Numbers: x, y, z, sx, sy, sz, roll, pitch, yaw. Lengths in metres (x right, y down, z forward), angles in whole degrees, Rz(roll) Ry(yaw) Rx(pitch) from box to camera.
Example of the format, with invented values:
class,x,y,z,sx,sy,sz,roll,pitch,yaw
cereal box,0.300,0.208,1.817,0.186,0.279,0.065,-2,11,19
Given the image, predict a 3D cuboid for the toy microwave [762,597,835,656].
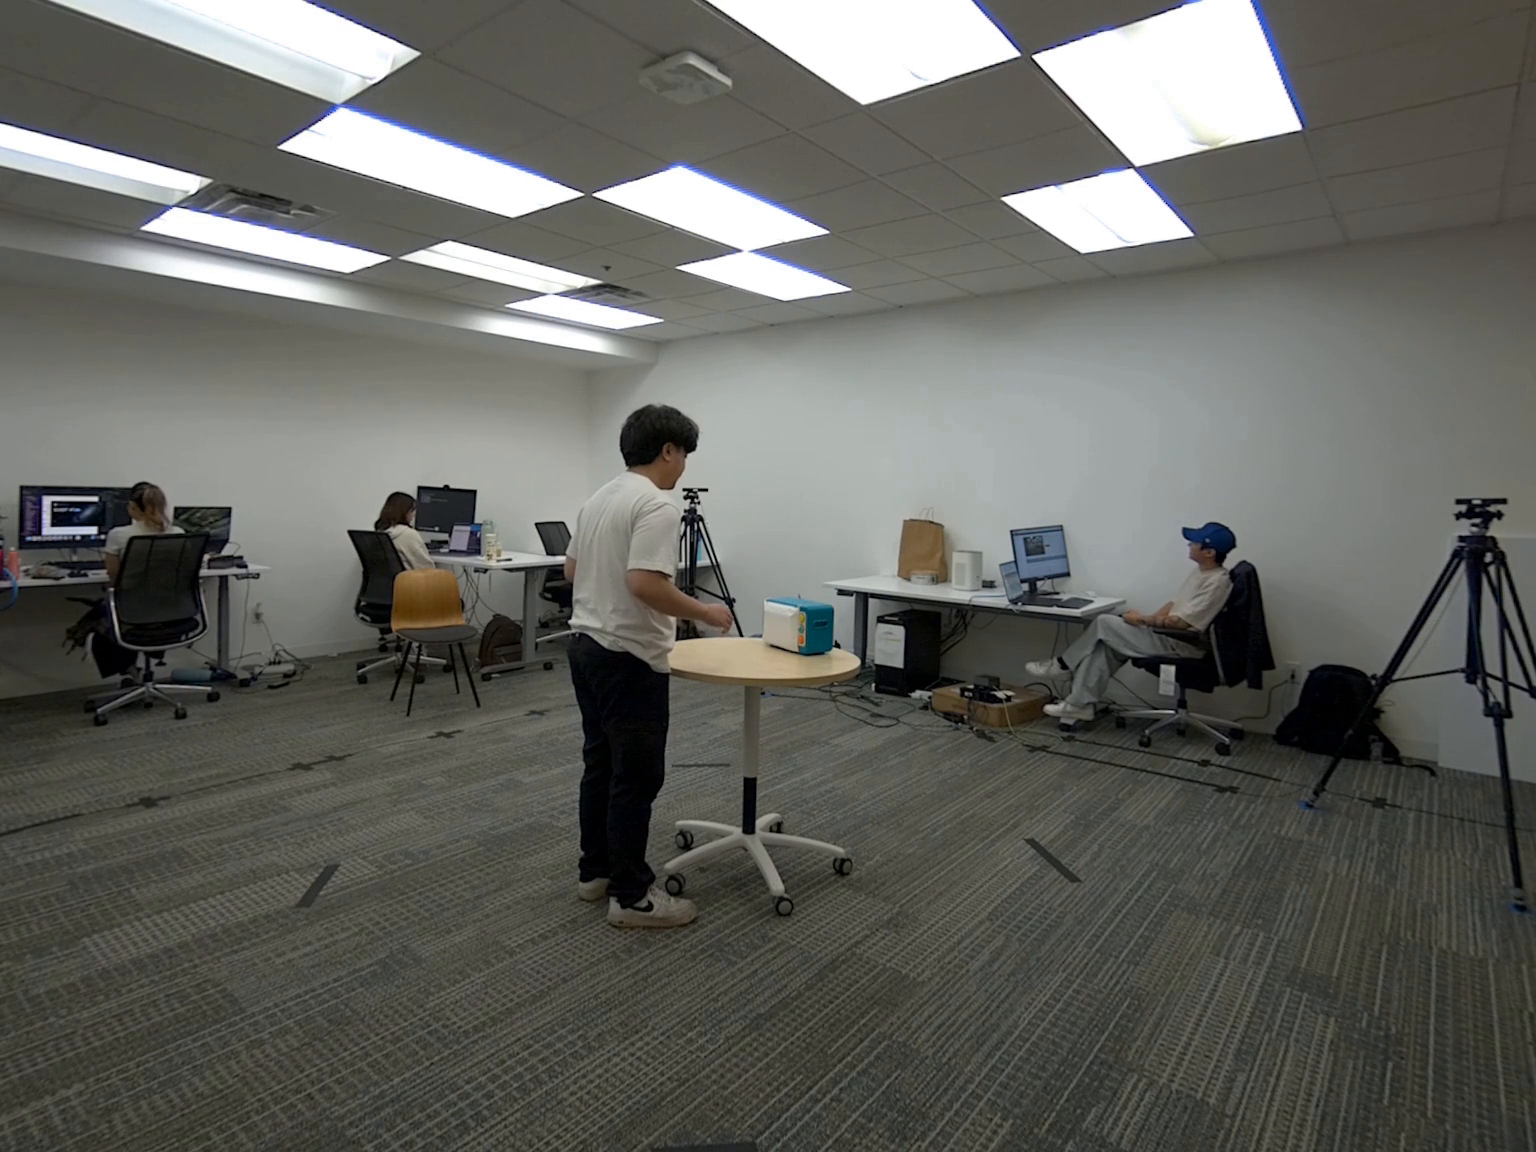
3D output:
class,x,y,z,sx,sy,sz,roll,pitch,yaw
toy microwave,0.097,0.182,3.218,0.148,0.183,0.296,-1,6,-35
